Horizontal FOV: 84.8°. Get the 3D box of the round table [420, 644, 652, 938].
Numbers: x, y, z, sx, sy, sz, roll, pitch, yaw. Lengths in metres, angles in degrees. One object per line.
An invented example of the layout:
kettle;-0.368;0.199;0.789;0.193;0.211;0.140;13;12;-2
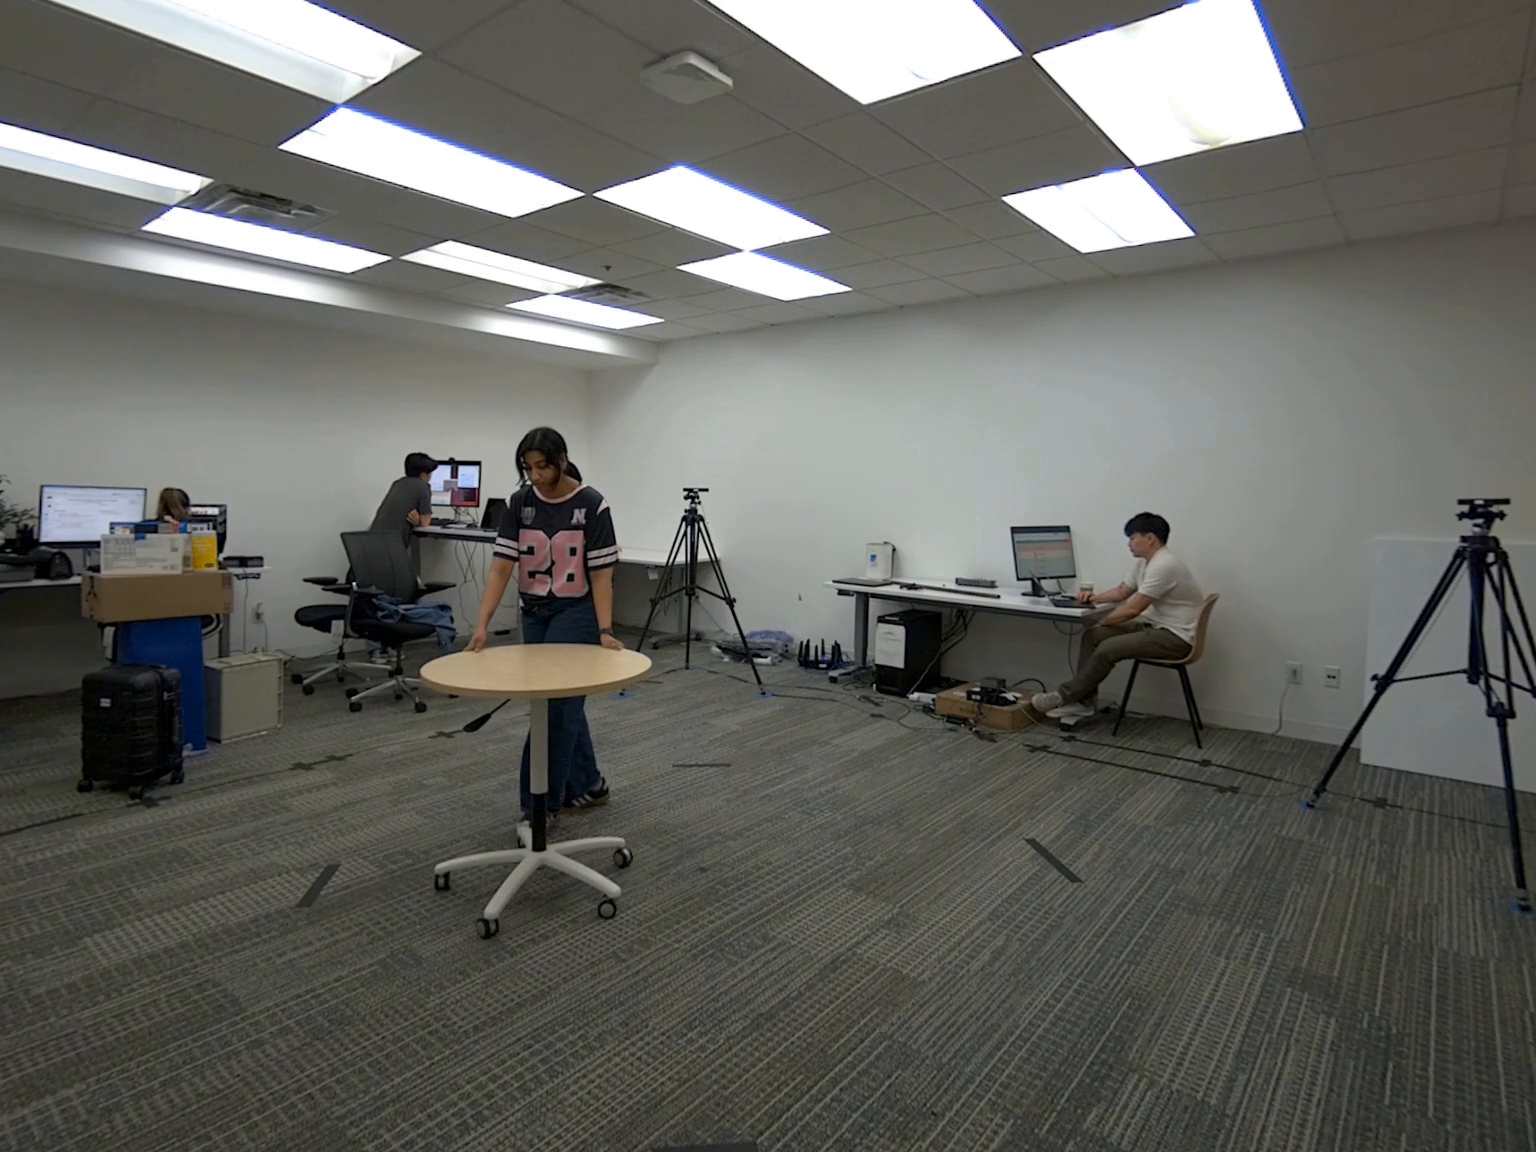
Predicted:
round table;-0.778;0.683;2.919;0.784;0.784;0.789;0;4;-2
